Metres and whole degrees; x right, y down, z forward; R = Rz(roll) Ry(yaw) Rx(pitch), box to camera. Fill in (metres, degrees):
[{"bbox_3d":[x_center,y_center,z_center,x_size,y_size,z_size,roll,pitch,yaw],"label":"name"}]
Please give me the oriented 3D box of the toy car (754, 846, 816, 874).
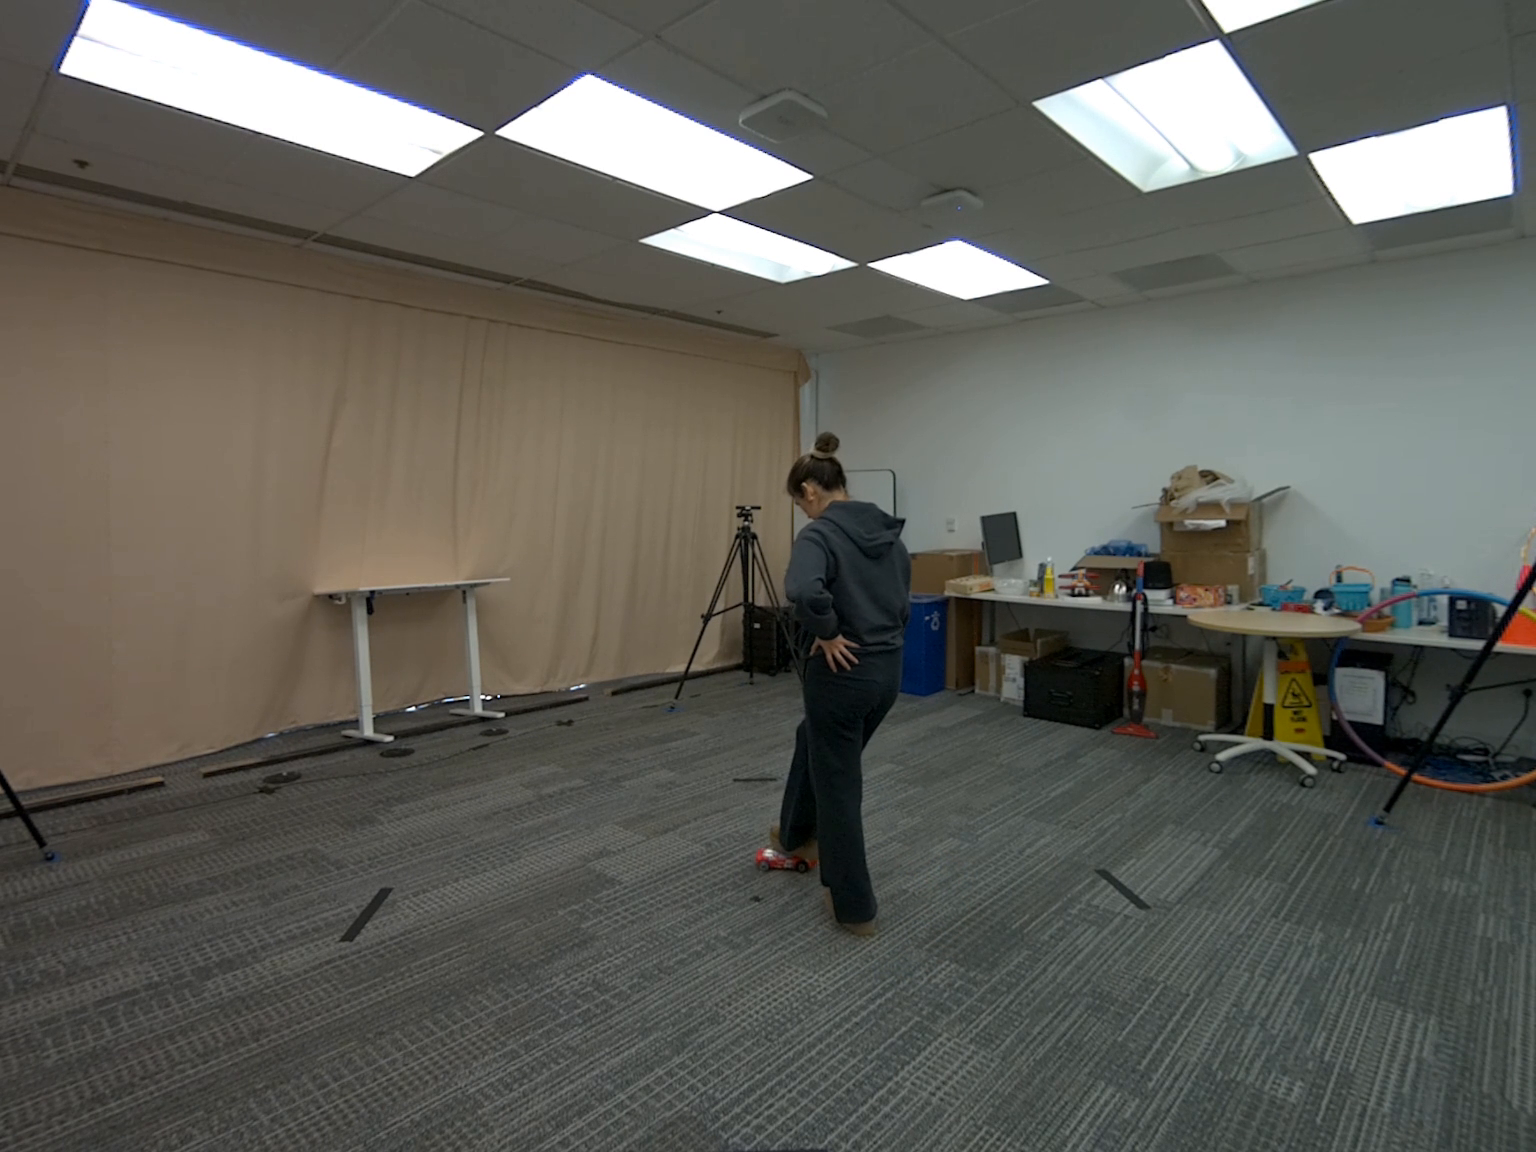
[{"bbox_3d":[0.107,1.087,3.245,0.256,0.083,0.130,-10,5,8],"label":"toy car"}]
